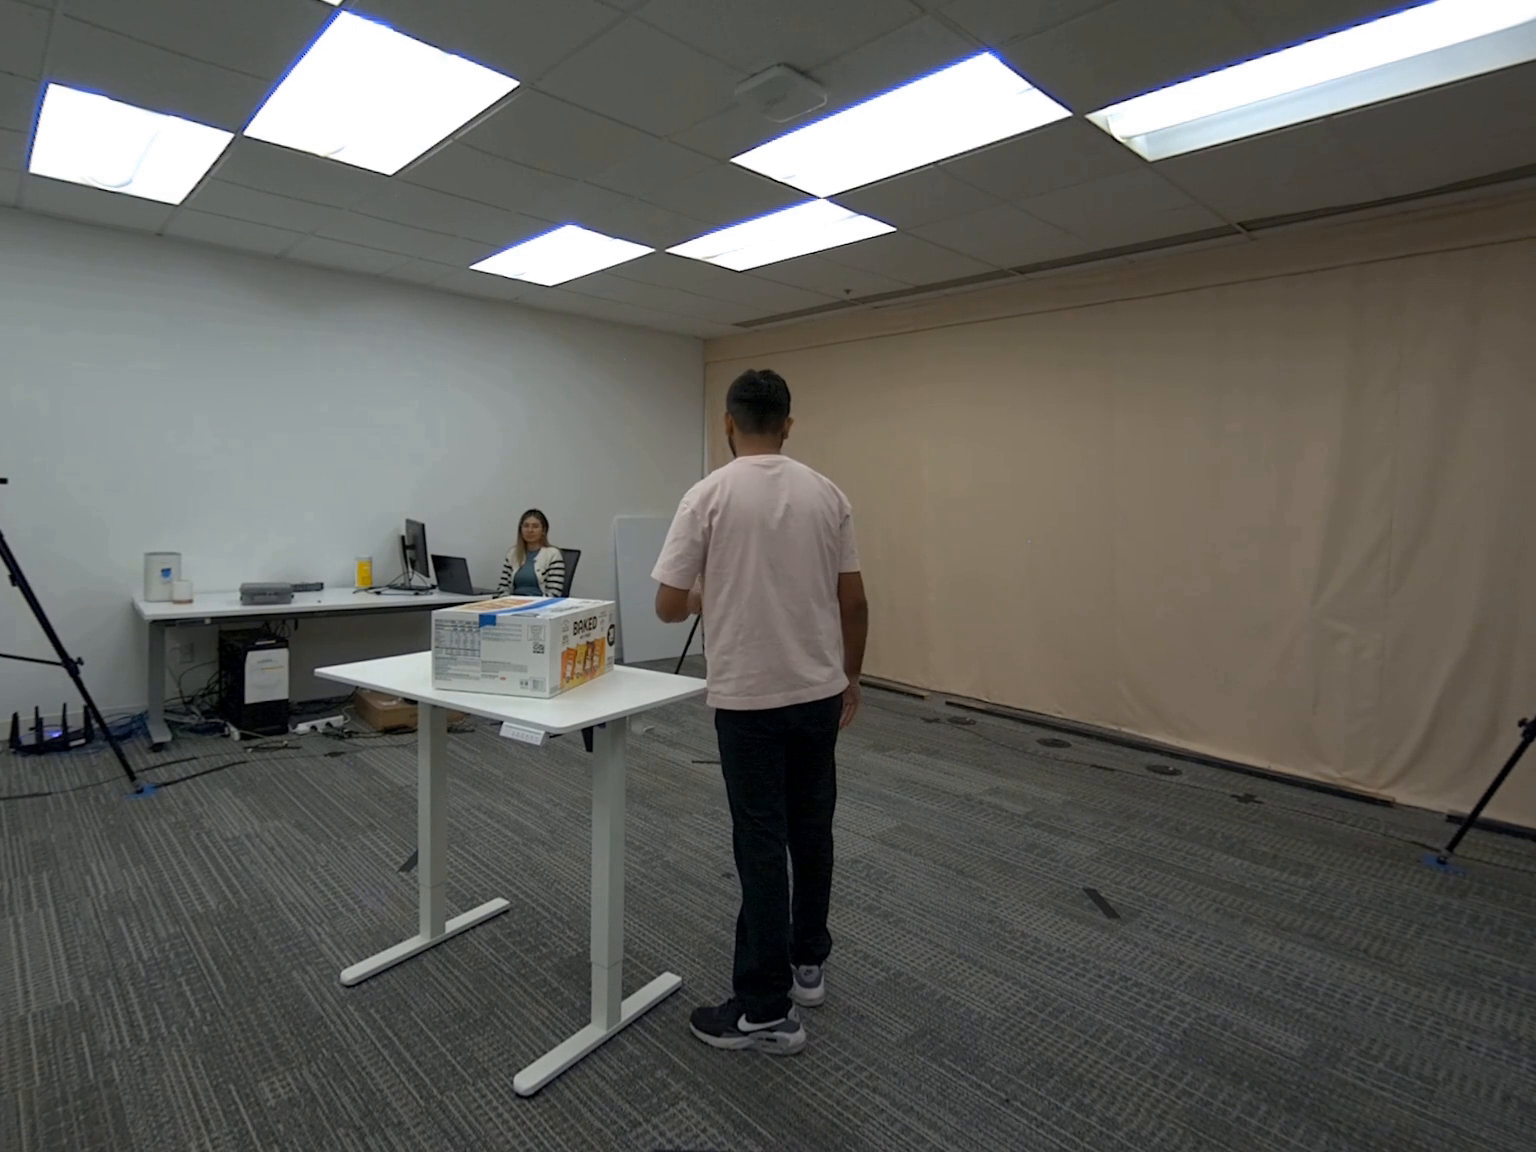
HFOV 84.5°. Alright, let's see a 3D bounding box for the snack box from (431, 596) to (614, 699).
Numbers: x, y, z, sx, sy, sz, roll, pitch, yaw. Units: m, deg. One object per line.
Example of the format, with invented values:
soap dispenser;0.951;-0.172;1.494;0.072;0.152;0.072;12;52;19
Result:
snack box;-0.659;0.183;2.309;0.344;0.205;0.401;2;5;14
